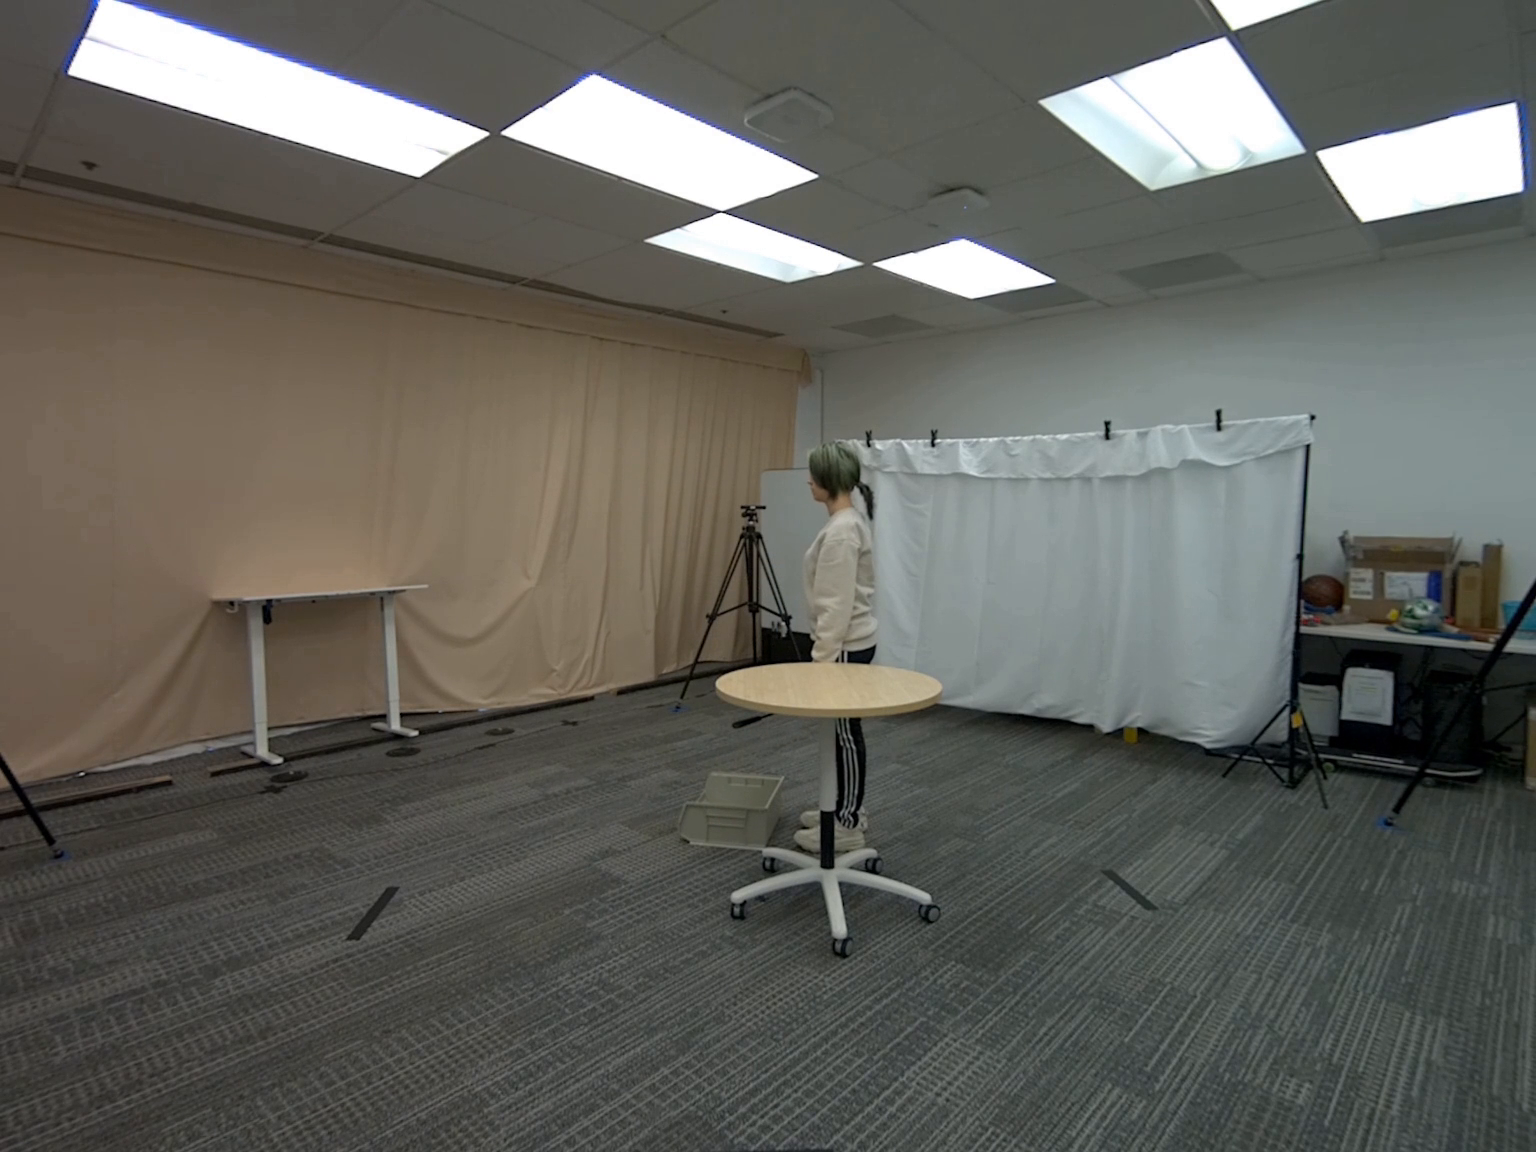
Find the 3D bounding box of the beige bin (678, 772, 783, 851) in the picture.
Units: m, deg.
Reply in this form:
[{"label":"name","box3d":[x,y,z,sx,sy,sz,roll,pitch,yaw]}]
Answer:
[{"label":"beige bin","box3d":[-0.152,1.005,3.631,0.383,0.188,0.417,1,4,12]}]
